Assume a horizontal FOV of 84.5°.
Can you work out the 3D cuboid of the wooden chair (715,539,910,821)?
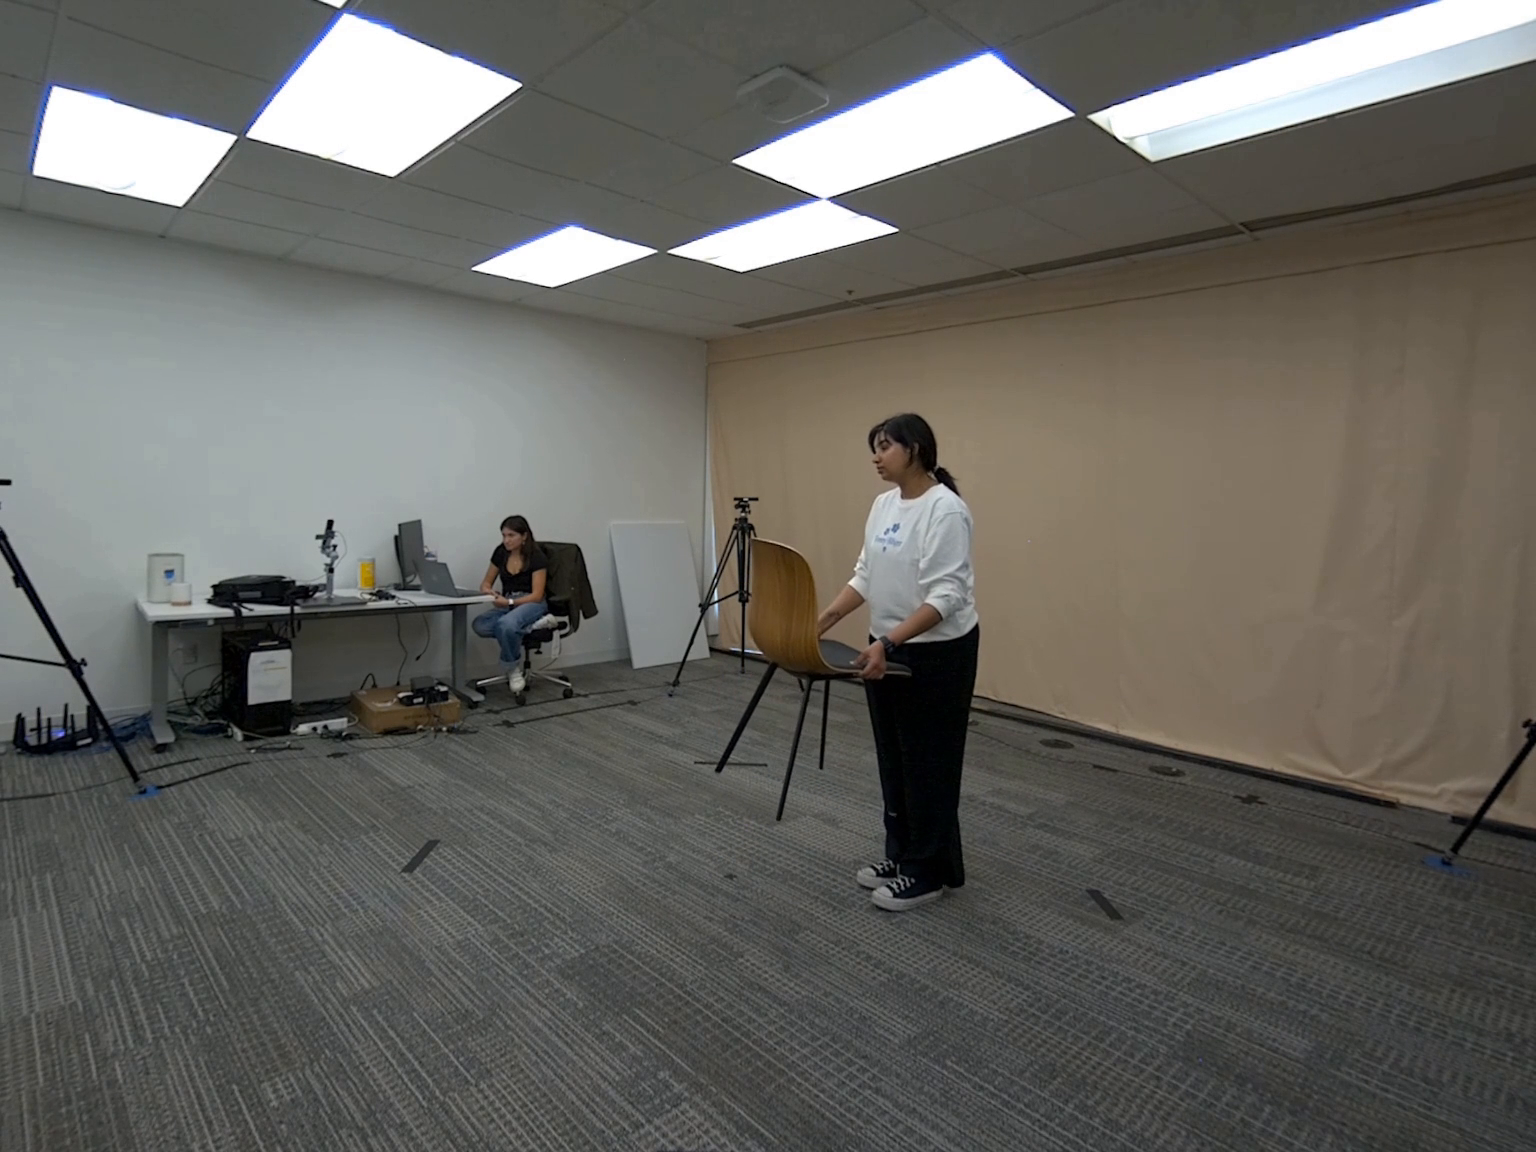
[{"bbox_3d":[0.169,0.322,2.847,0.513,0.875,0.489,2,5,-28],"label":"wooden chair"}]
